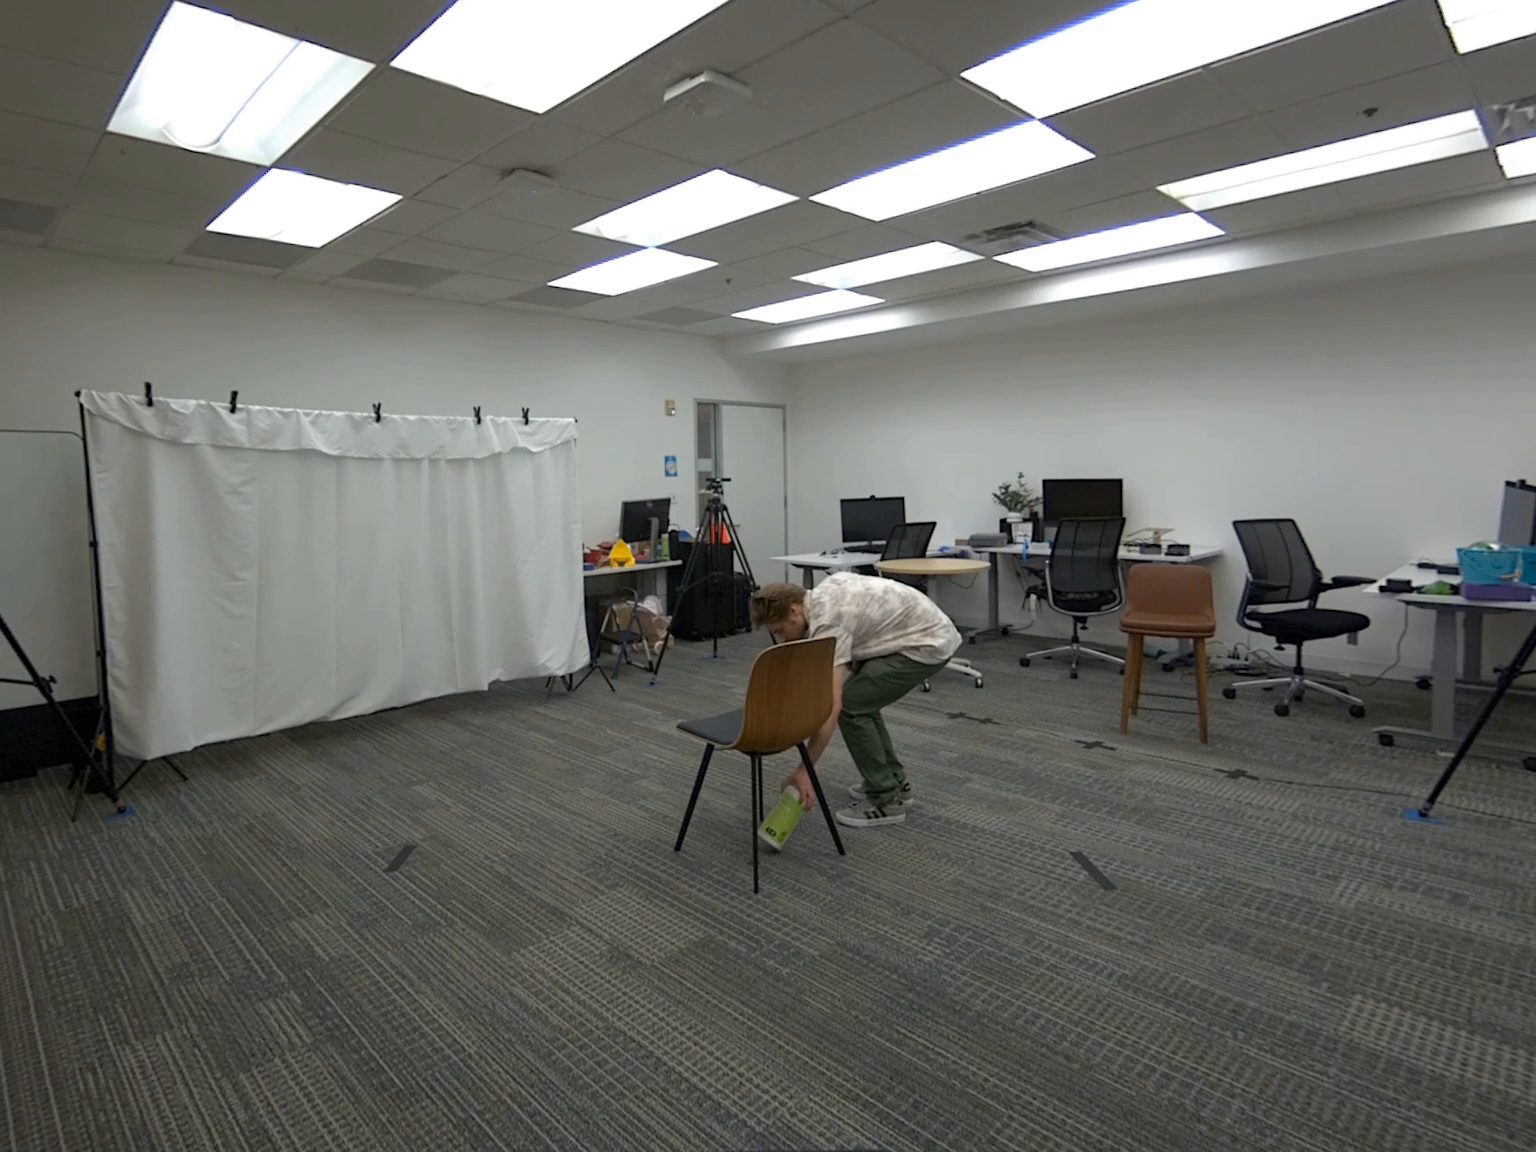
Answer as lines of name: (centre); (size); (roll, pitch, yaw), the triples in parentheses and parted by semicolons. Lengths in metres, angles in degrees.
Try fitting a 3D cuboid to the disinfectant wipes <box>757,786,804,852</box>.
disinfectant wipes: (0.064, 0.907, 3.224); (0.118, 0.218, 0.117); (28, -8, 2)
